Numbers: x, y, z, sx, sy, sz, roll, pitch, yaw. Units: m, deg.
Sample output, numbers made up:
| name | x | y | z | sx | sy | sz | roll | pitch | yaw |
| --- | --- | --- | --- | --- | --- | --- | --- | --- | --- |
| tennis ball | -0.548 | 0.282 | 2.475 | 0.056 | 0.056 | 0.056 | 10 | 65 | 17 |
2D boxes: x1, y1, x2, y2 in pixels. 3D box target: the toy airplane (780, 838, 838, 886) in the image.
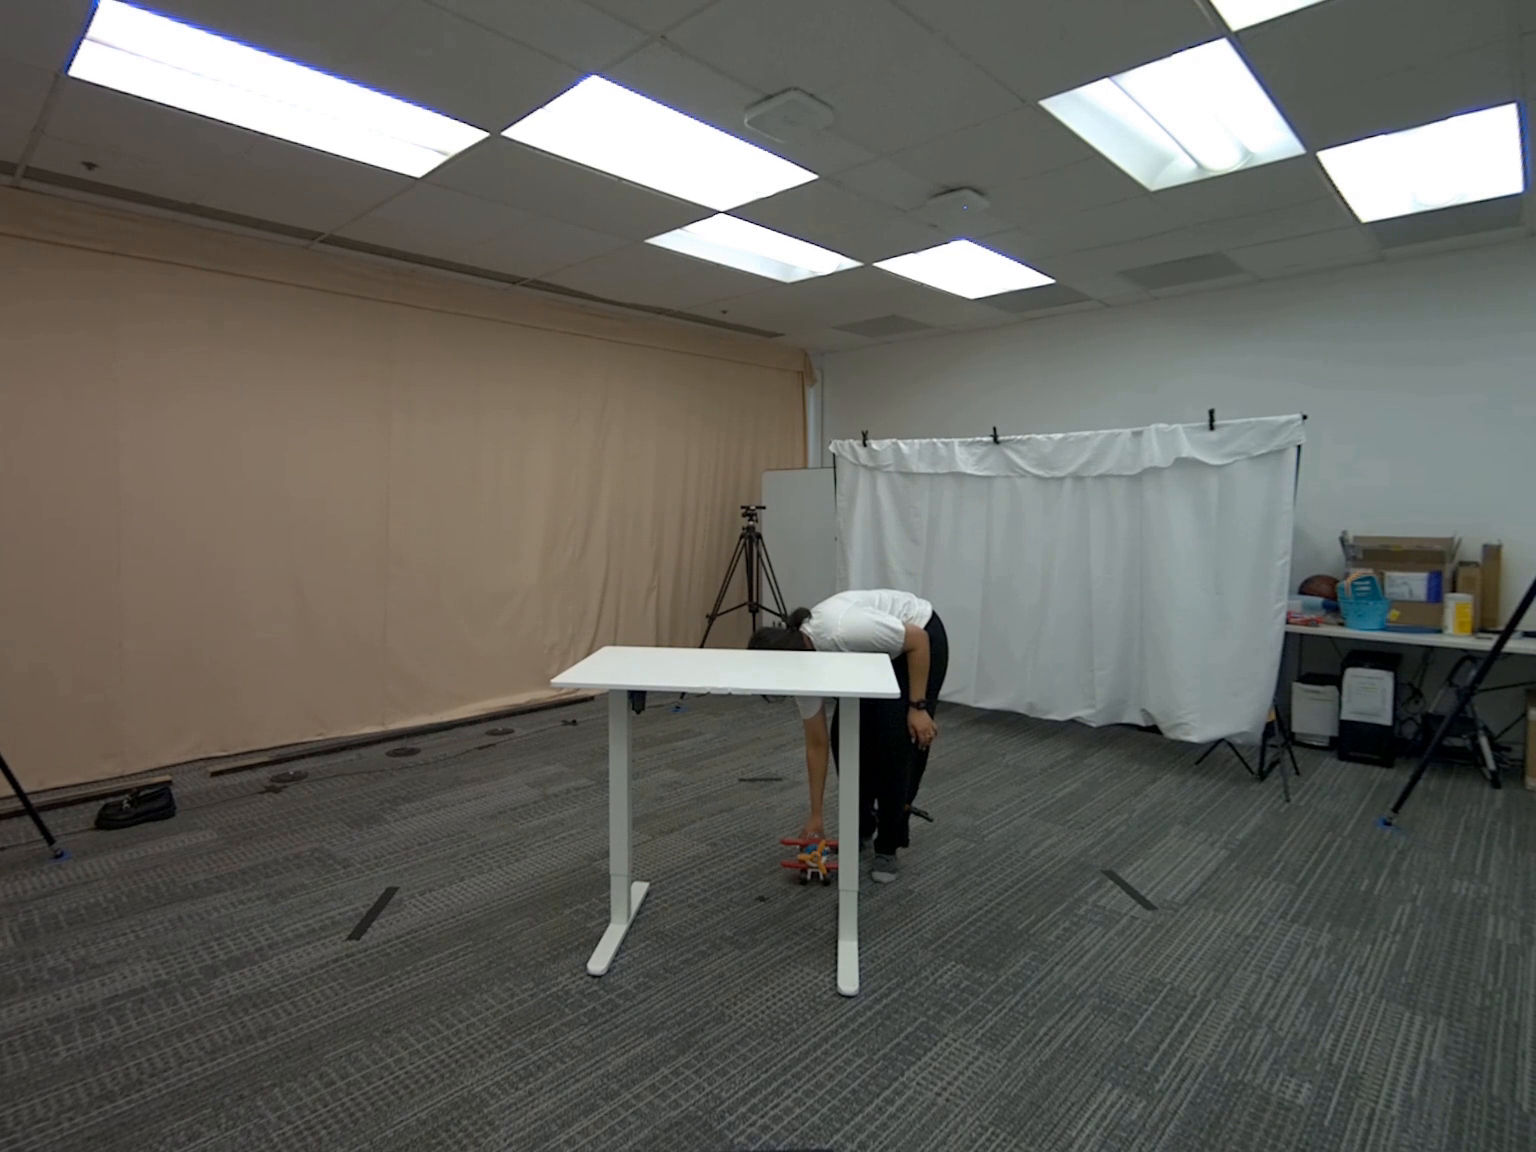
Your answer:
| name | x | y | z | sx | sy | sz | roll | pitch | yaw |
| --- | --- | --- | --- | --- | --- | --- | --- | --- | --- |
| toy airplane | 0.152 | 1.049 | 3.172 | 0.245 | 0.156 | 0.267 | -2 | 6 | -28 |
